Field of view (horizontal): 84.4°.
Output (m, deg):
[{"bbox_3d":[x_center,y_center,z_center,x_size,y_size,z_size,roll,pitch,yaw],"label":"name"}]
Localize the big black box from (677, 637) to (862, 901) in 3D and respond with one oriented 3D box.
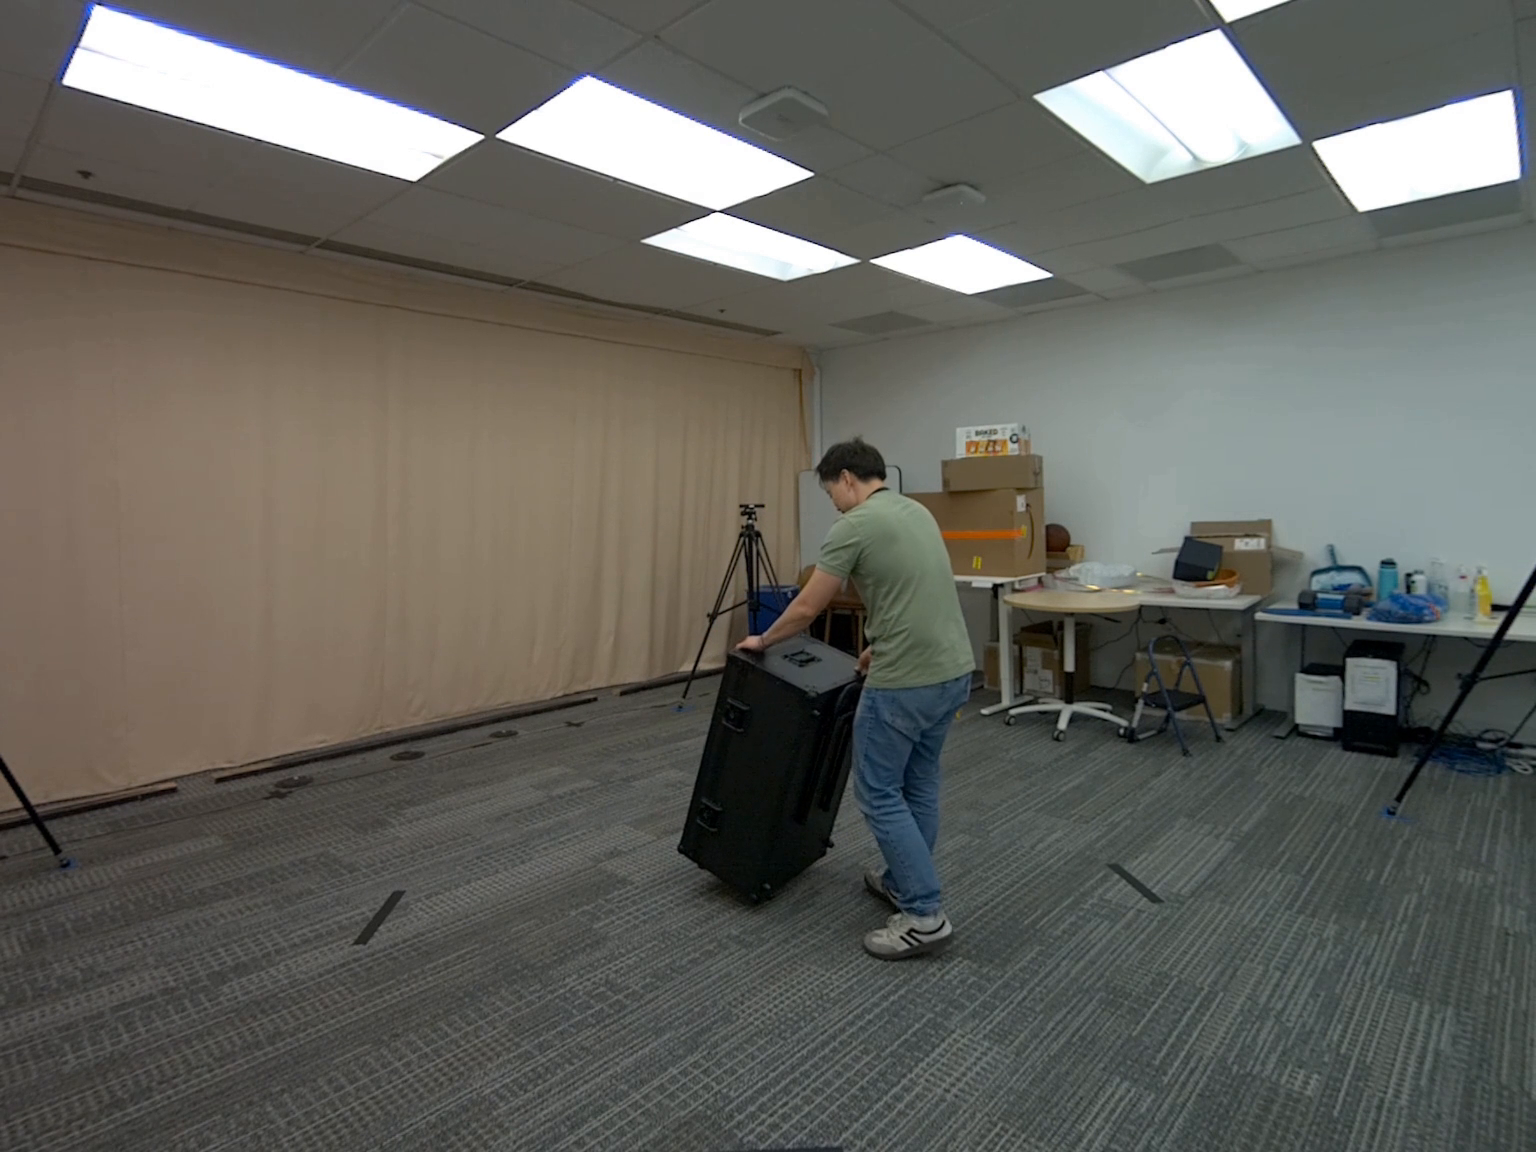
[{"bbox_3d":[0.047,0.696,3.033,0.409,0.857,0.507,23,16,30],"label":"big black box"}]
